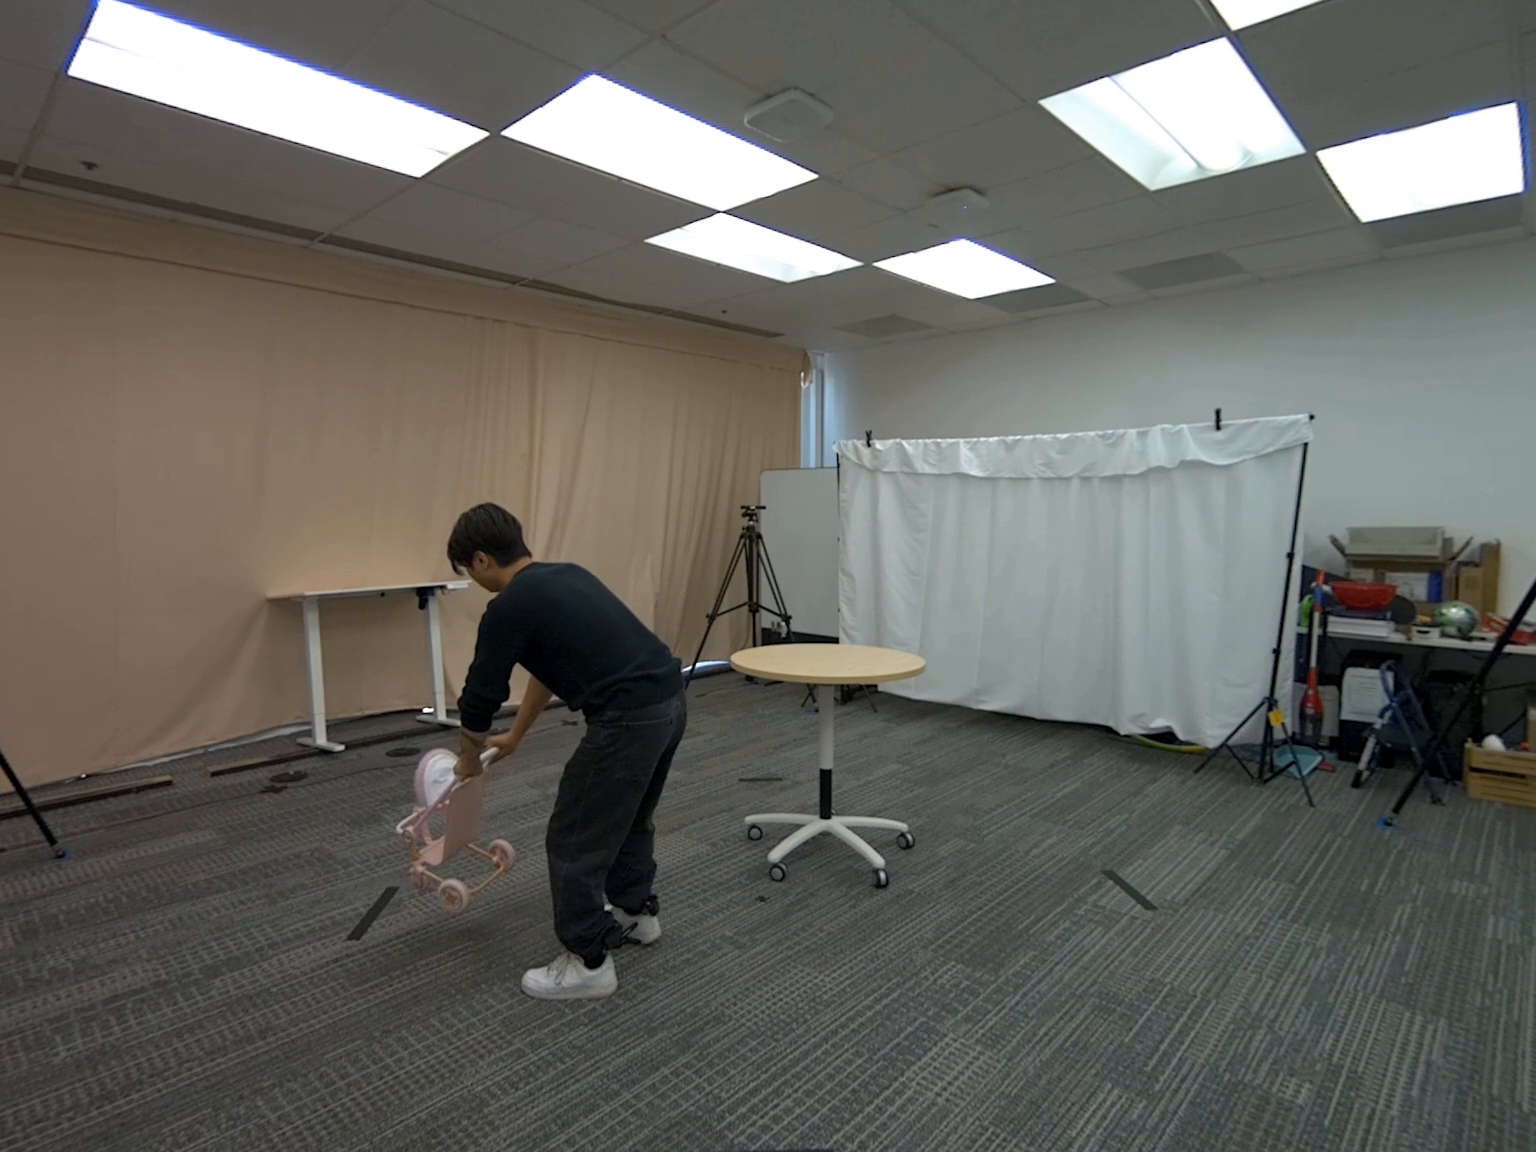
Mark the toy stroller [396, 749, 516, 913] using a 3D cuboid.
[{"bbox_3d":[-1.022,0.795,2.703,0.350,0.531,0.276,6,12,24],"label":"toy stroller"}]
